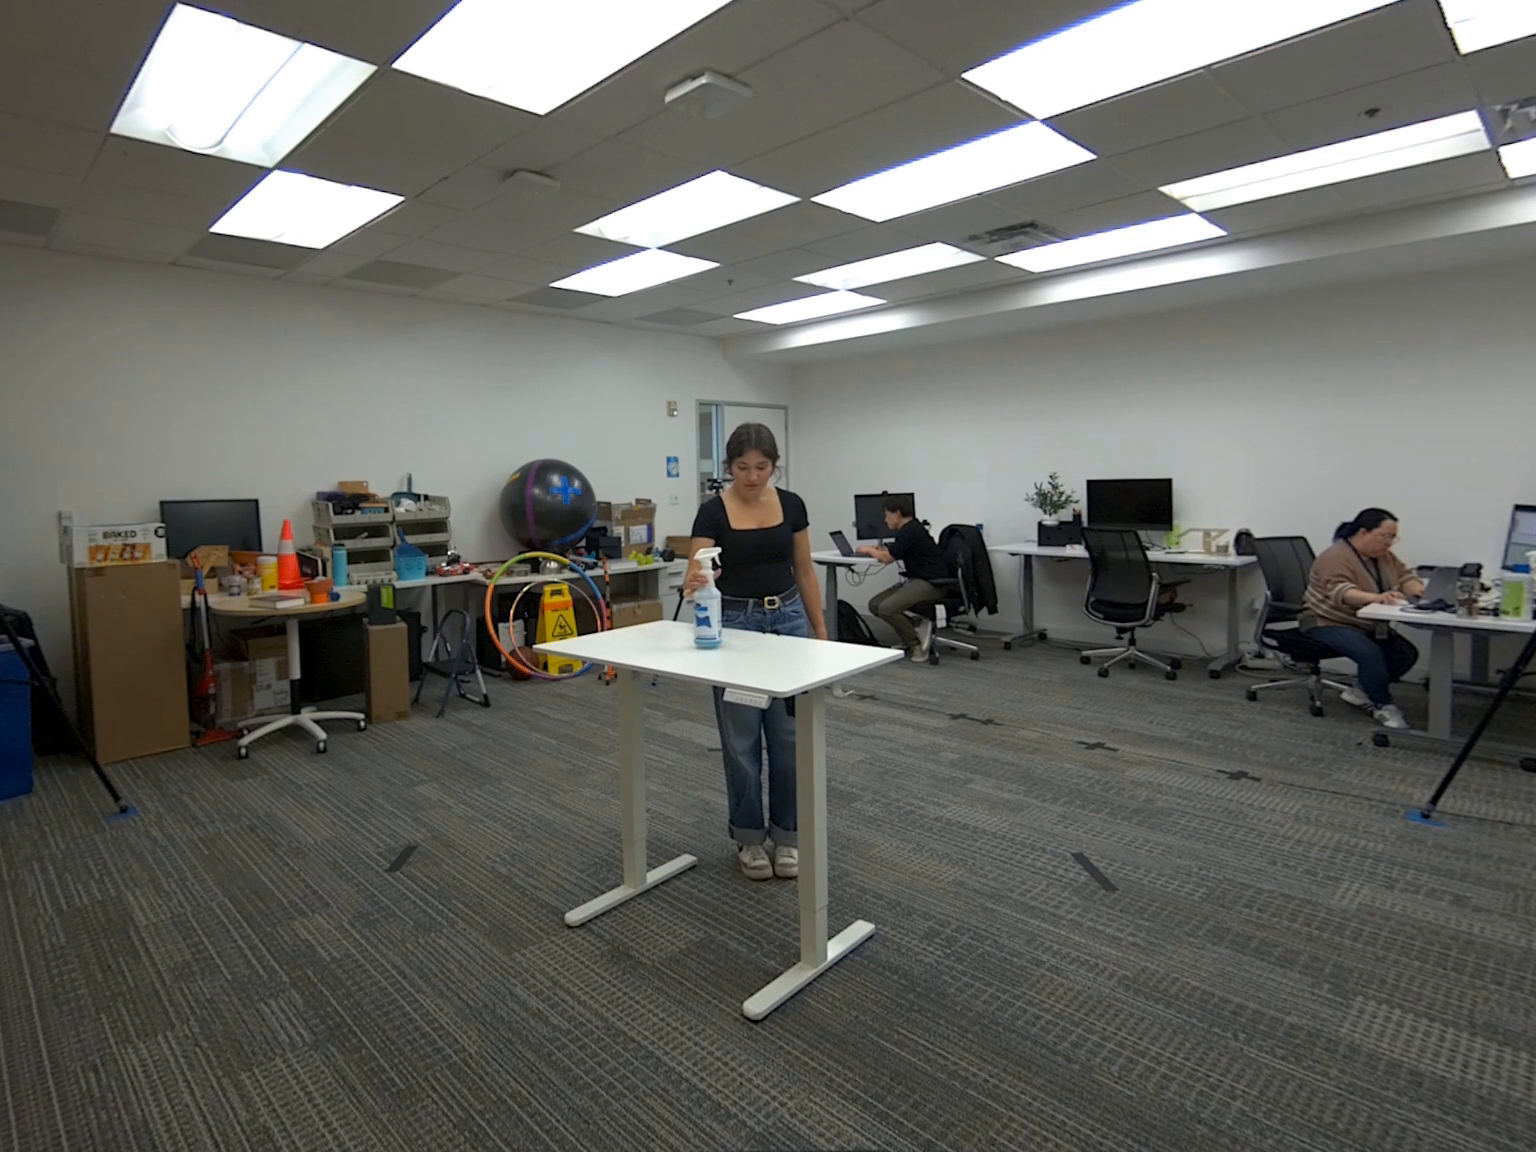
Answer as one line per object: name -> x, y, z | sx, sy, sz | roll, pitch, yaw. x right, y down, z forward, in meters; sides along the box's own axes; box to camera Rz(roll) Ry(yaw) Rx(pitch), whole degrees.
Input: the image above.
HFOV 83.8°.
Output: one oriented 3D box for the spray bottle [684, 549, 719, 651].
spray bottle -> -0.205, 0.069, 2.622 | 0.090, 0.296, 0.087 | -2, 3, -3
